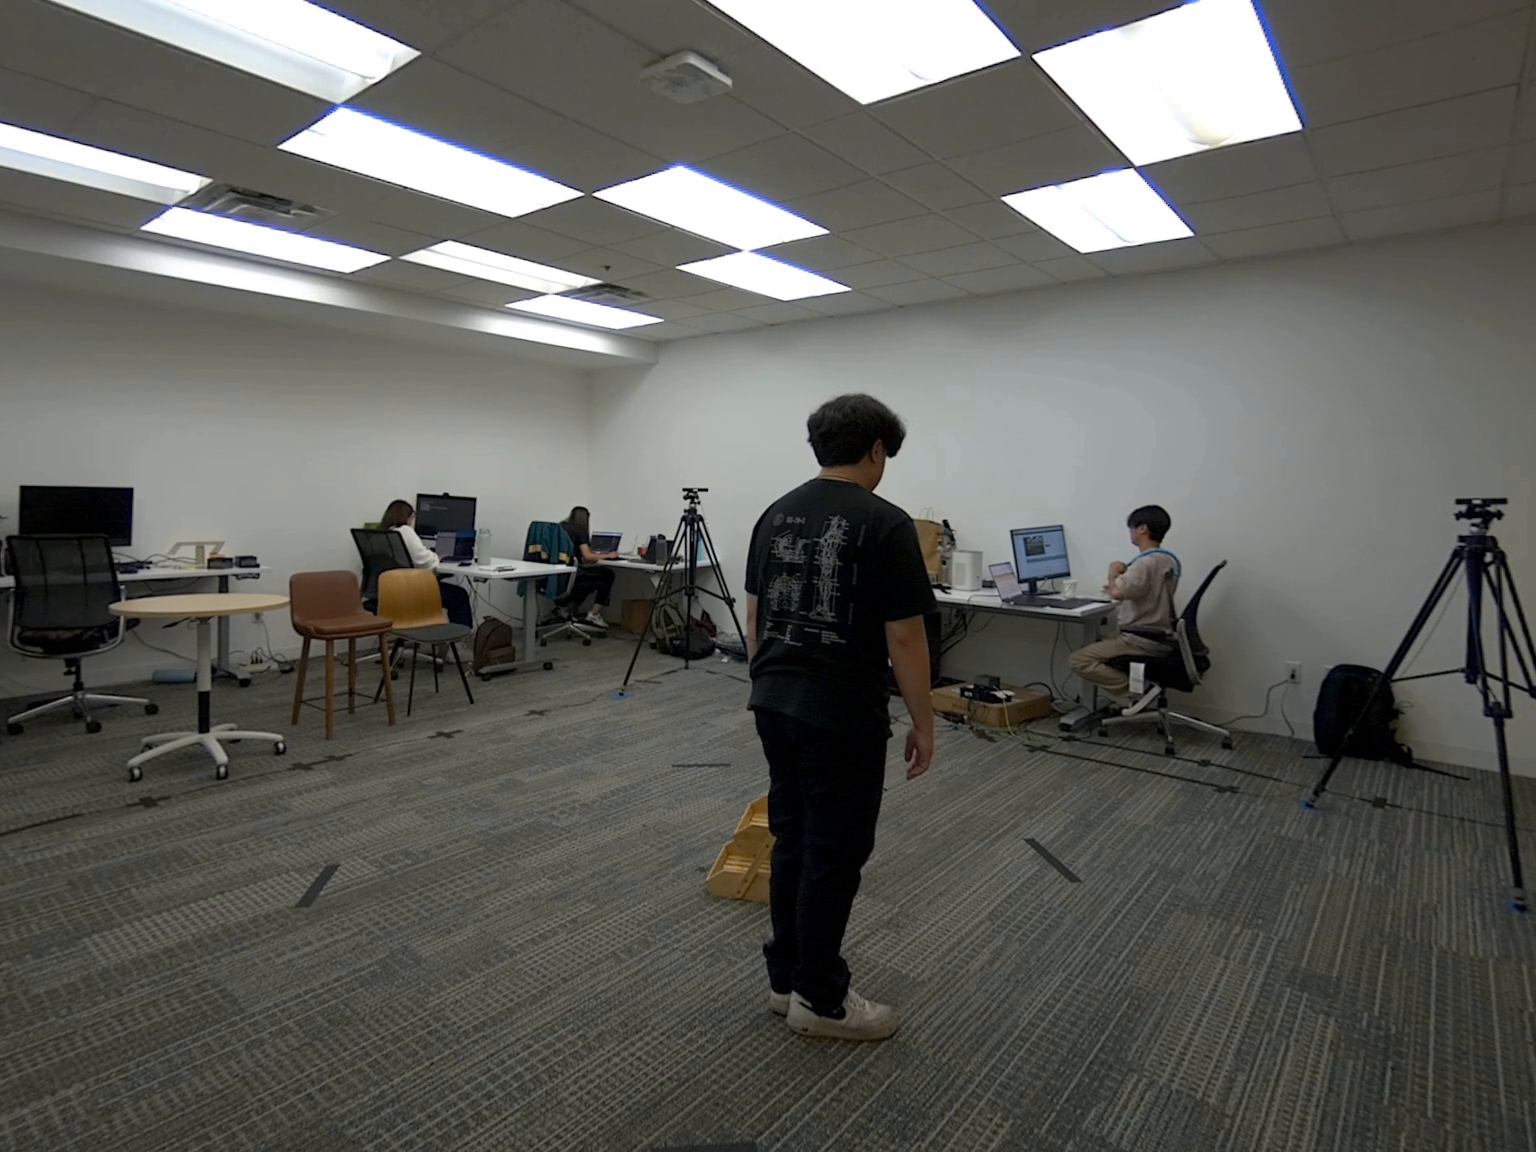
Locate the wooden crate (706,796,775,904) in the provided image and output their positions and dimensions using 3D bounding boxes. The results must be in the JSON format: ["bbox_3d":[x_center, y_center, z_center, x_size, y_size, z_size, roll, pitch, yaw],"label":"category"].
[{"bbox_3d":[-0.056,0.948,3.019,0.305,0.272,0.322,2,4,9],"label":"wooden crate"}]
